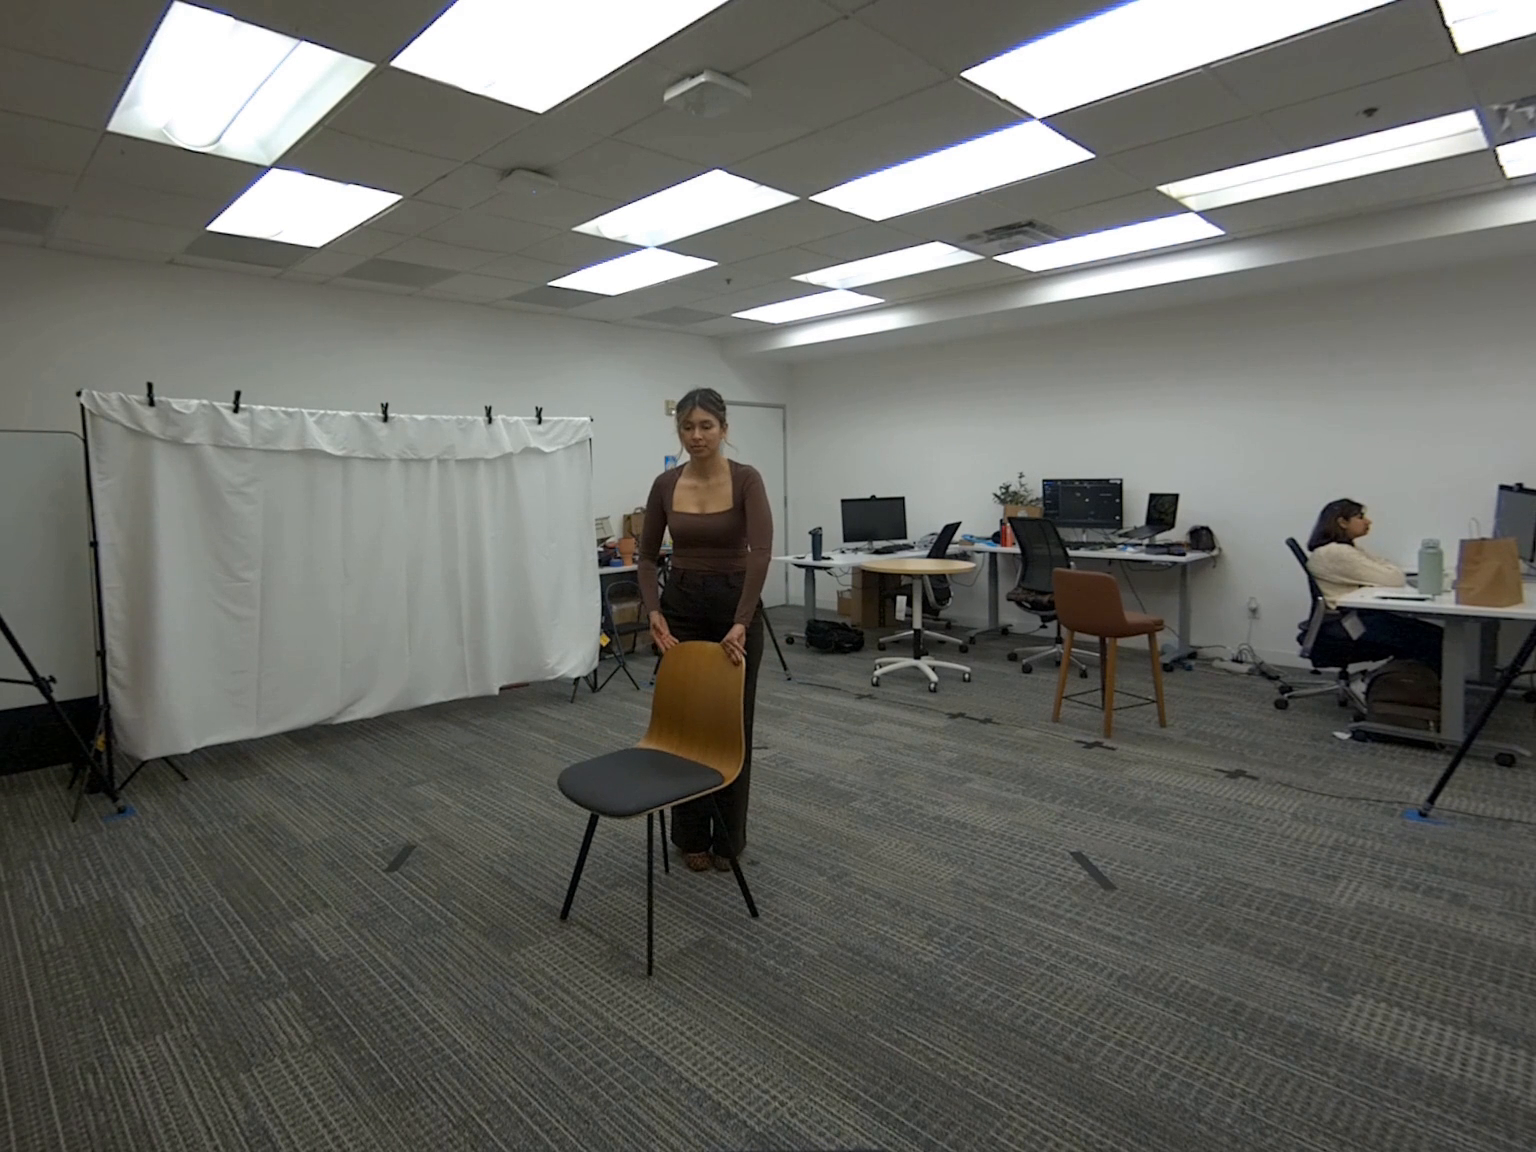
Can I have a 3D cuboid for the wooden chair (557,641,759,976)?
[{"bbox_3d":[-0.351,0.673,2.678,0.493,0.876,0.508,5,3,45],"label":"wooden chair"}]
